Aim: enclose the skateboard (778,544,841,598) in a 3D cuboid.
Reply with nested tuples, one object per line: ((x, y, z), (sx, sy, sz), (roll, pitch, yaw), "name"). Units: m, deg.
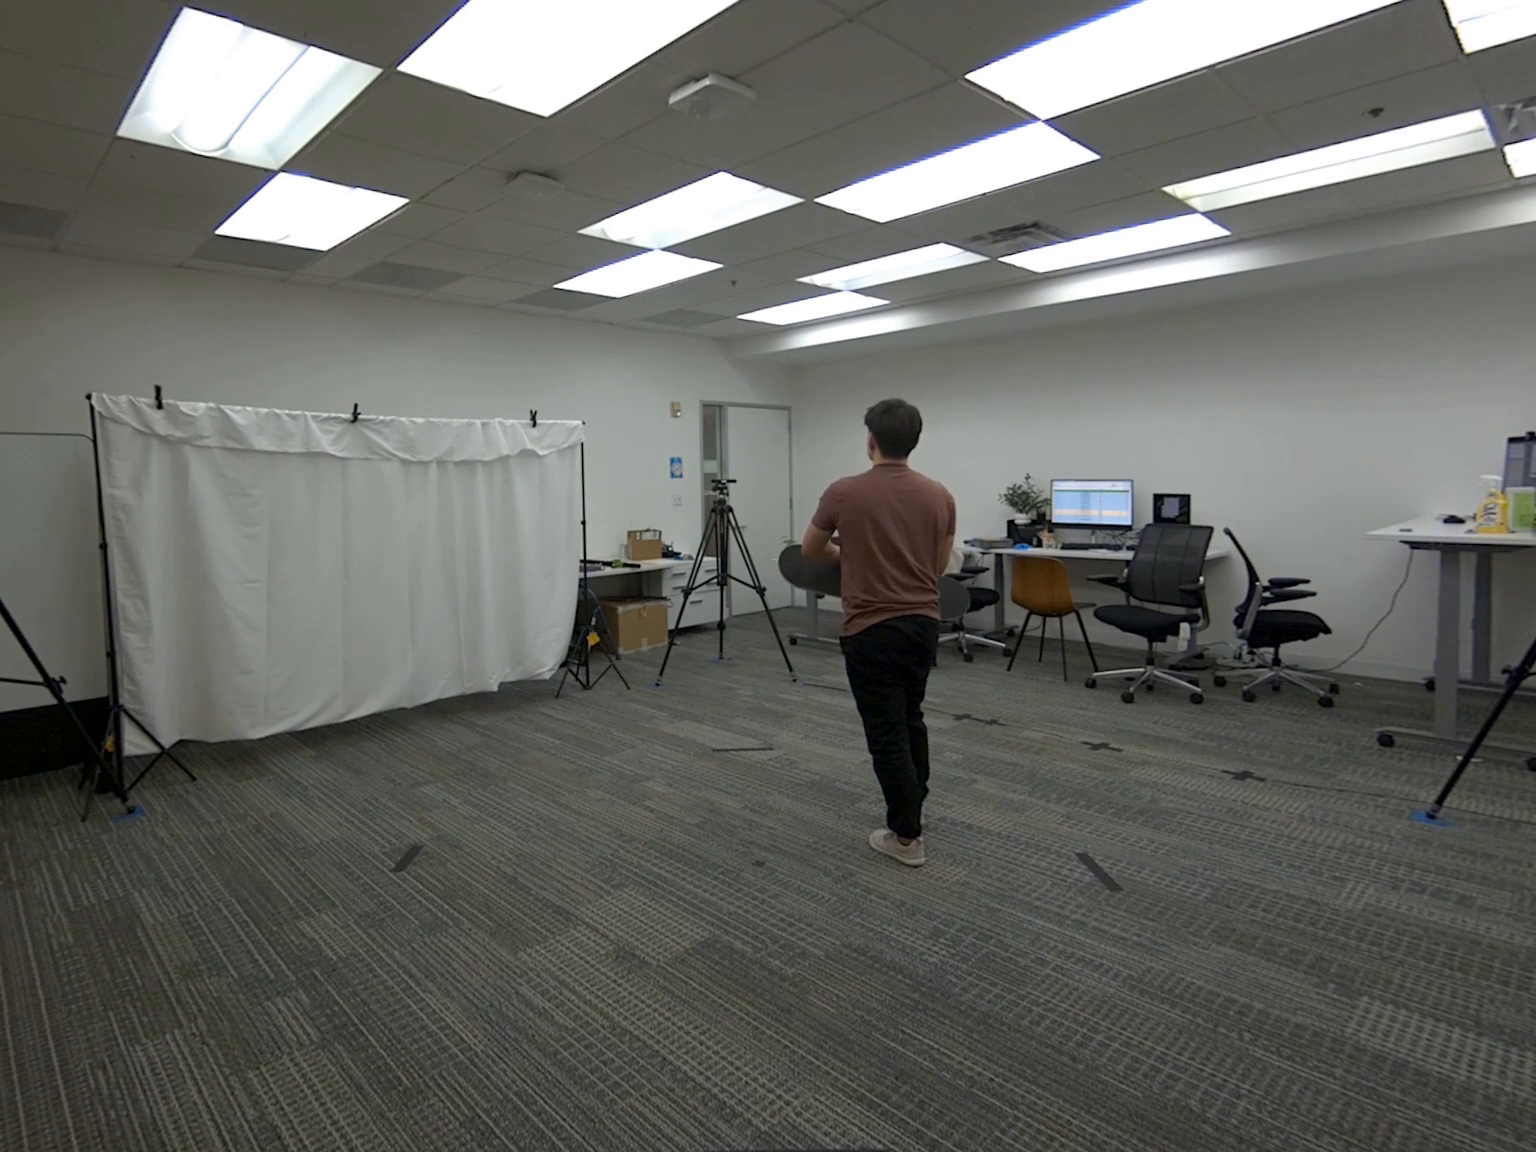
((0.412, 0.049, 3.461), (0.784, 0.196, 0.109), (15, -24, -1), "skateboard")
